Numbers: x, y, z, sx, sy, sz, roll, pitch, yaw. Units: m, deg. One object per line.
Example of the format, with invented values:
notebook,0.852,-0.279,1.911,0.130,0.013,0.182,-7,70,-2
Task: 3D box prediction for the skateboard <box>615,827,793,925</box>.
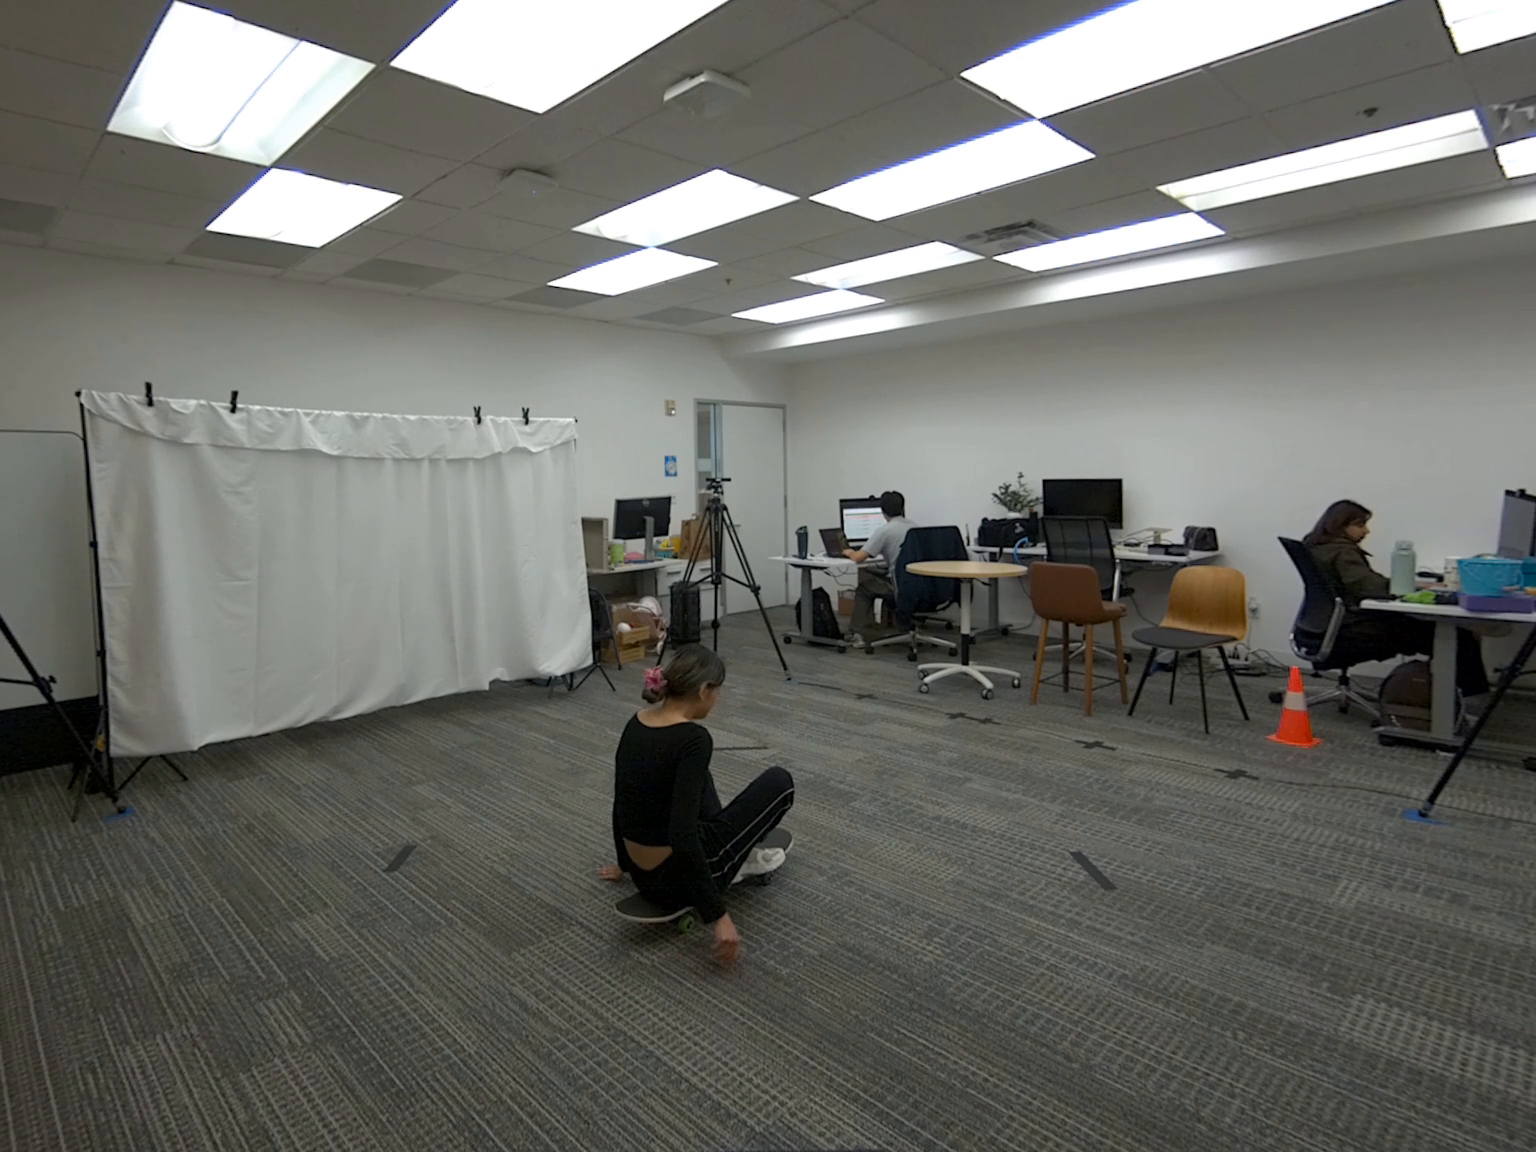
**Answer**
skateboard,-0.190,1.013,2.852,0.199,0.110,0.767,2,8,38
